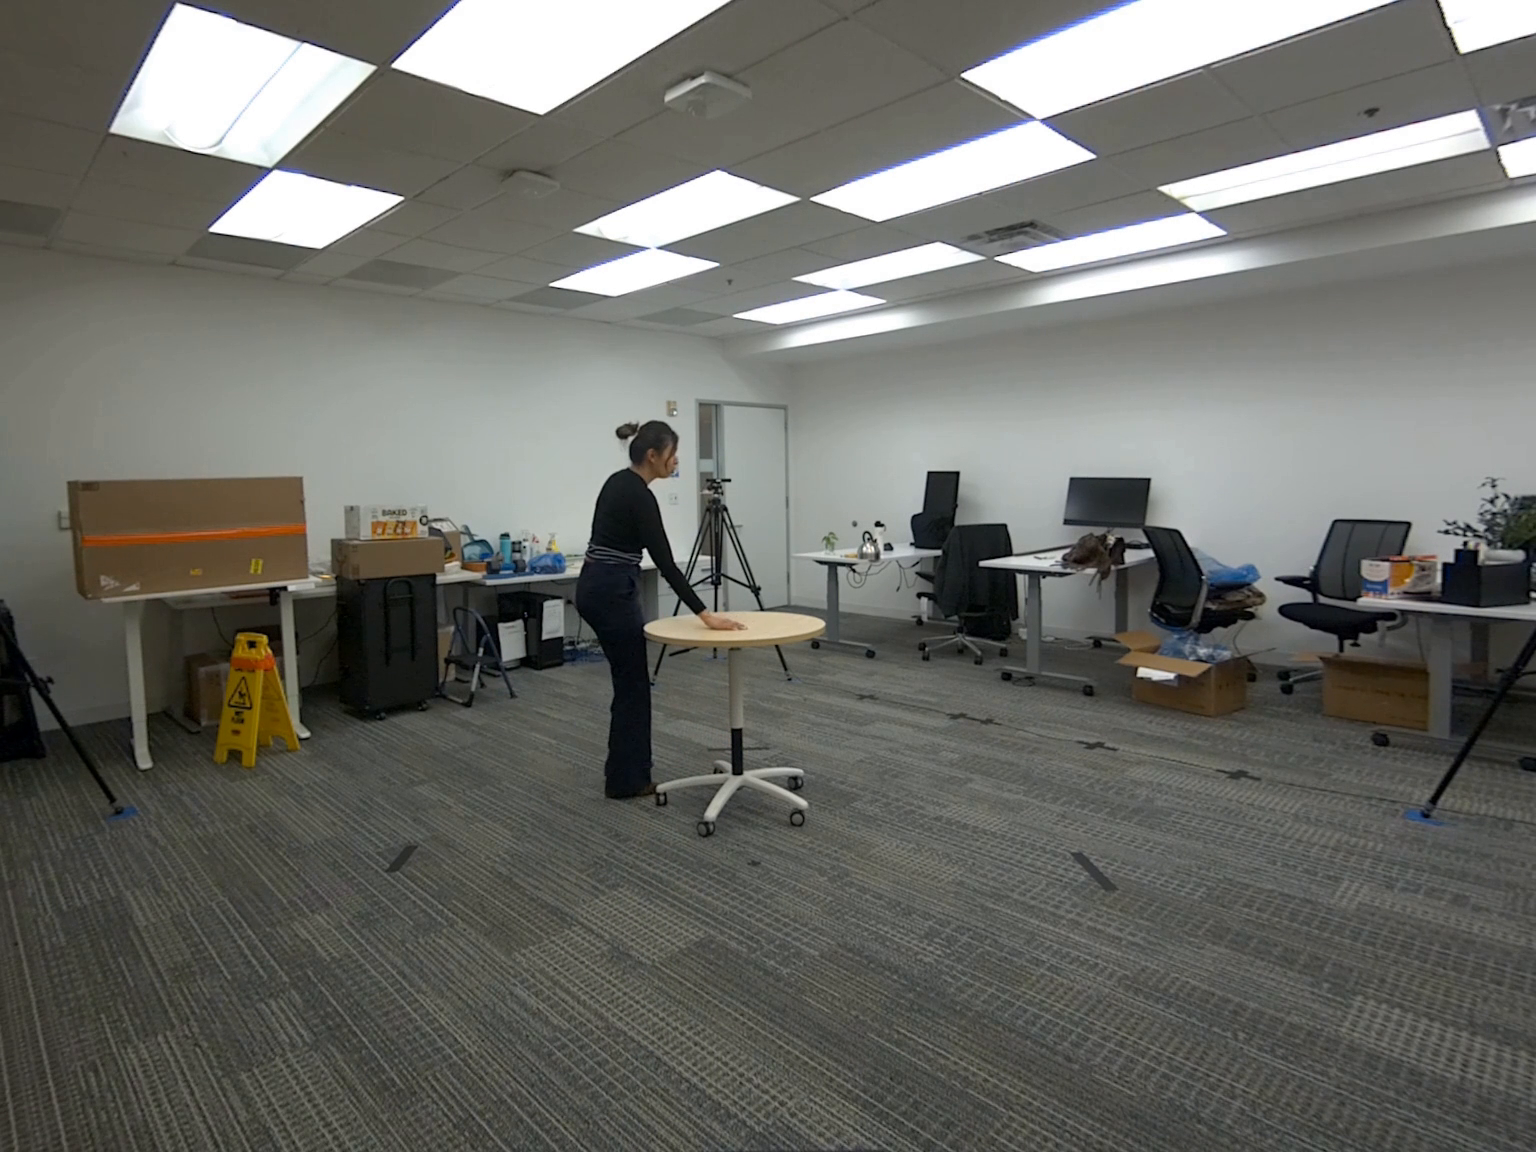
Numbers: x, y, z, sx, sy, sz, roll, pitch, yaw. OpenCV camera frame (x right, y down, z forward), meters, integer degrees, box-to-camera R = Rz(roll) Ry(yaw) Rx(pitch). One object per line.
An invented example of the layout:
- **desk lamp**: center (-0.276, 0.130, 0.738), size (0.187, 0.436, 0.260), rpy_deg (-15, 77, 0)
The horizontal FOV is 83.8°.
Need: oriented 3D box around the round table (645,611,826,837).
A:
- **round table**: center (-0.132, 0.598, 3.629), size (0.763, 0.791, 0.767), rpy_deg (-1, 4, -2)
